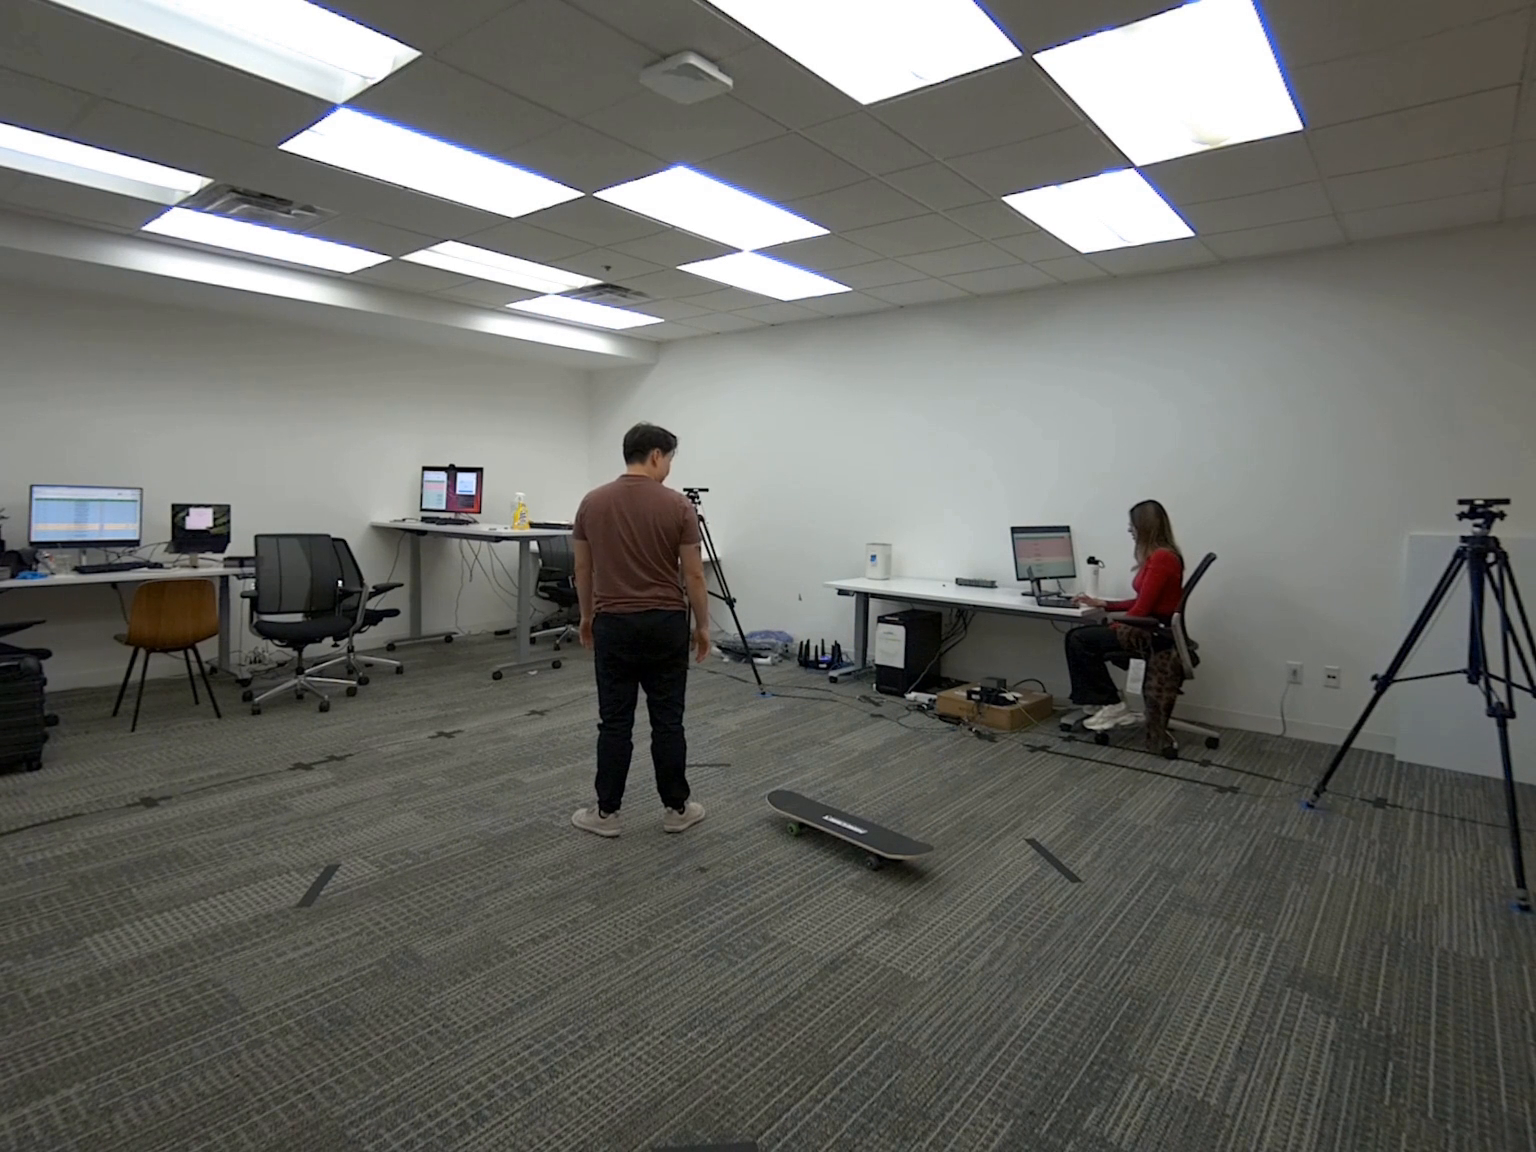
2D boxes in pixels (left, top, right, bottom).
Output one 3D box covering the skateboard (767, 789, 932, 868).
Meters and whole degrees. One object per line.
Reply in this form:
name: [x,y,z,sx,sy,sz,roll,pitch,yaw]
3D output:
skateboard: [0.288,1.000,3.338,0.188,0.110,0.813,-4,8,-44]
